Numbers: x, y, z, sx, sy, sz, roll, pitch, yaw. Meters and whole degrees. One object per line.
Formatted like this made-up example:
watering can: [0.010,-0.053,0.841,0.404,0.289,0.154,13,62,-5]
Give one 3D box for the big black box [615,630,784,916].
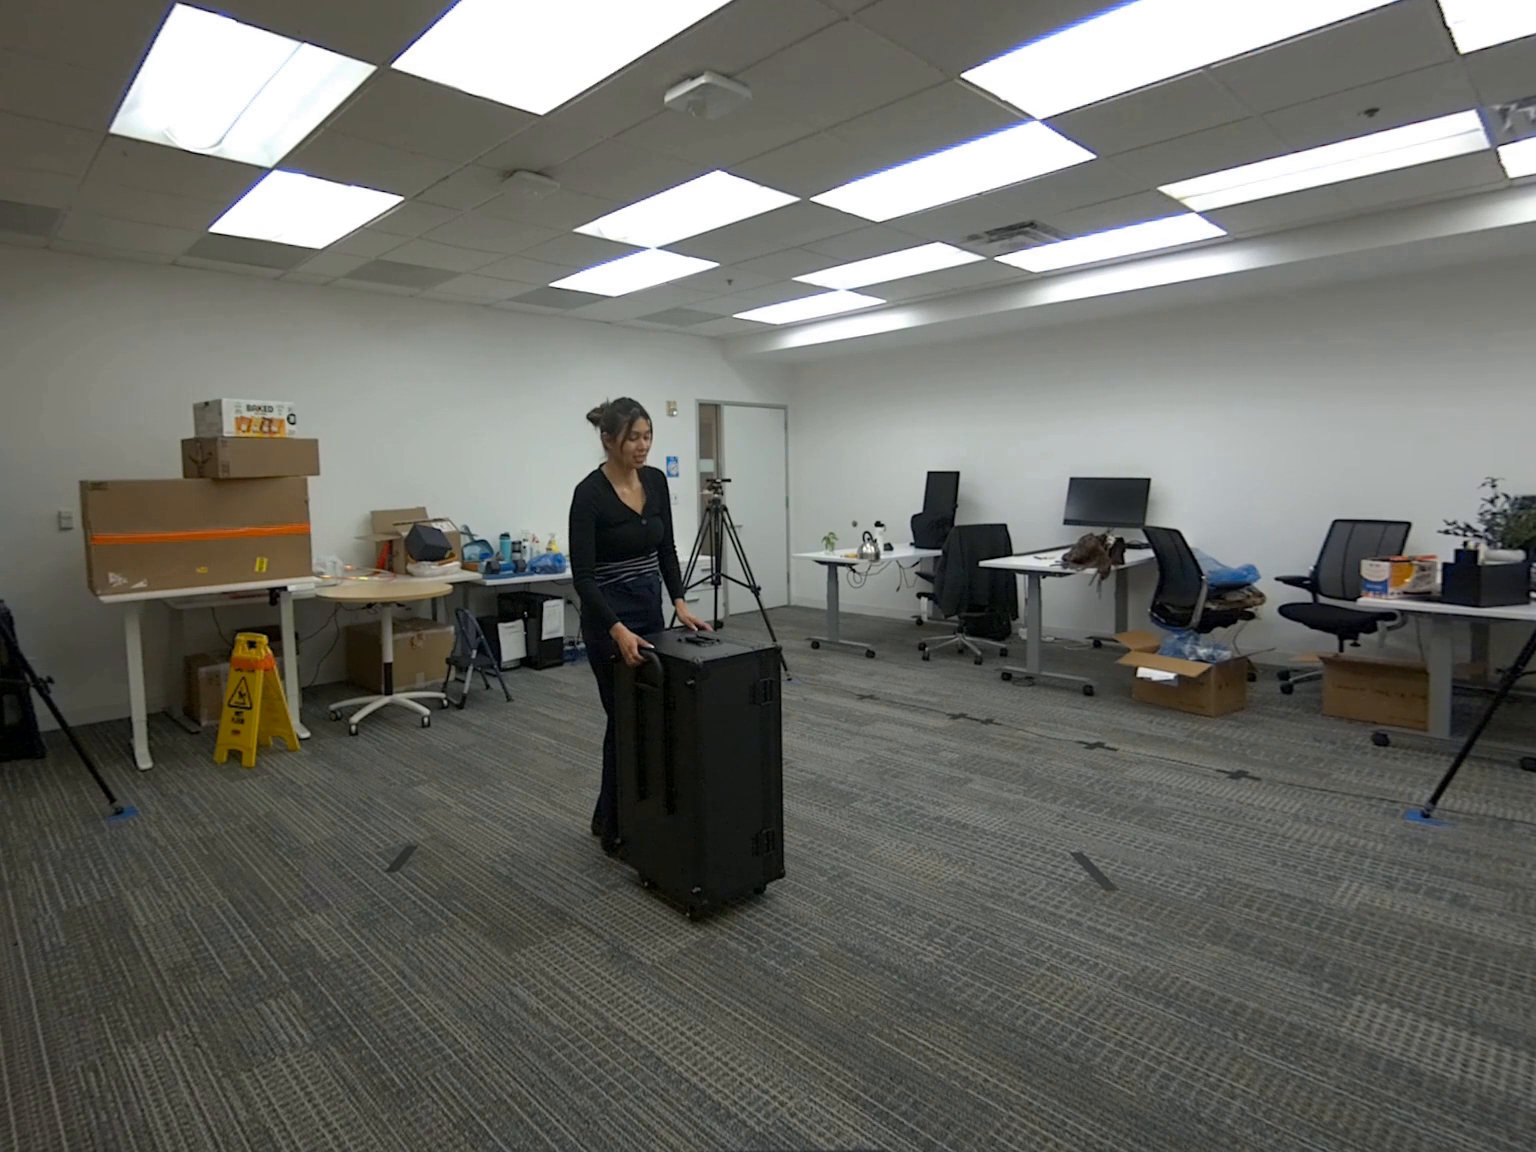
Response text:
big black box: [-0.225,0.593,2.883,0.386,0.857,0.537,-5,7,-40]
